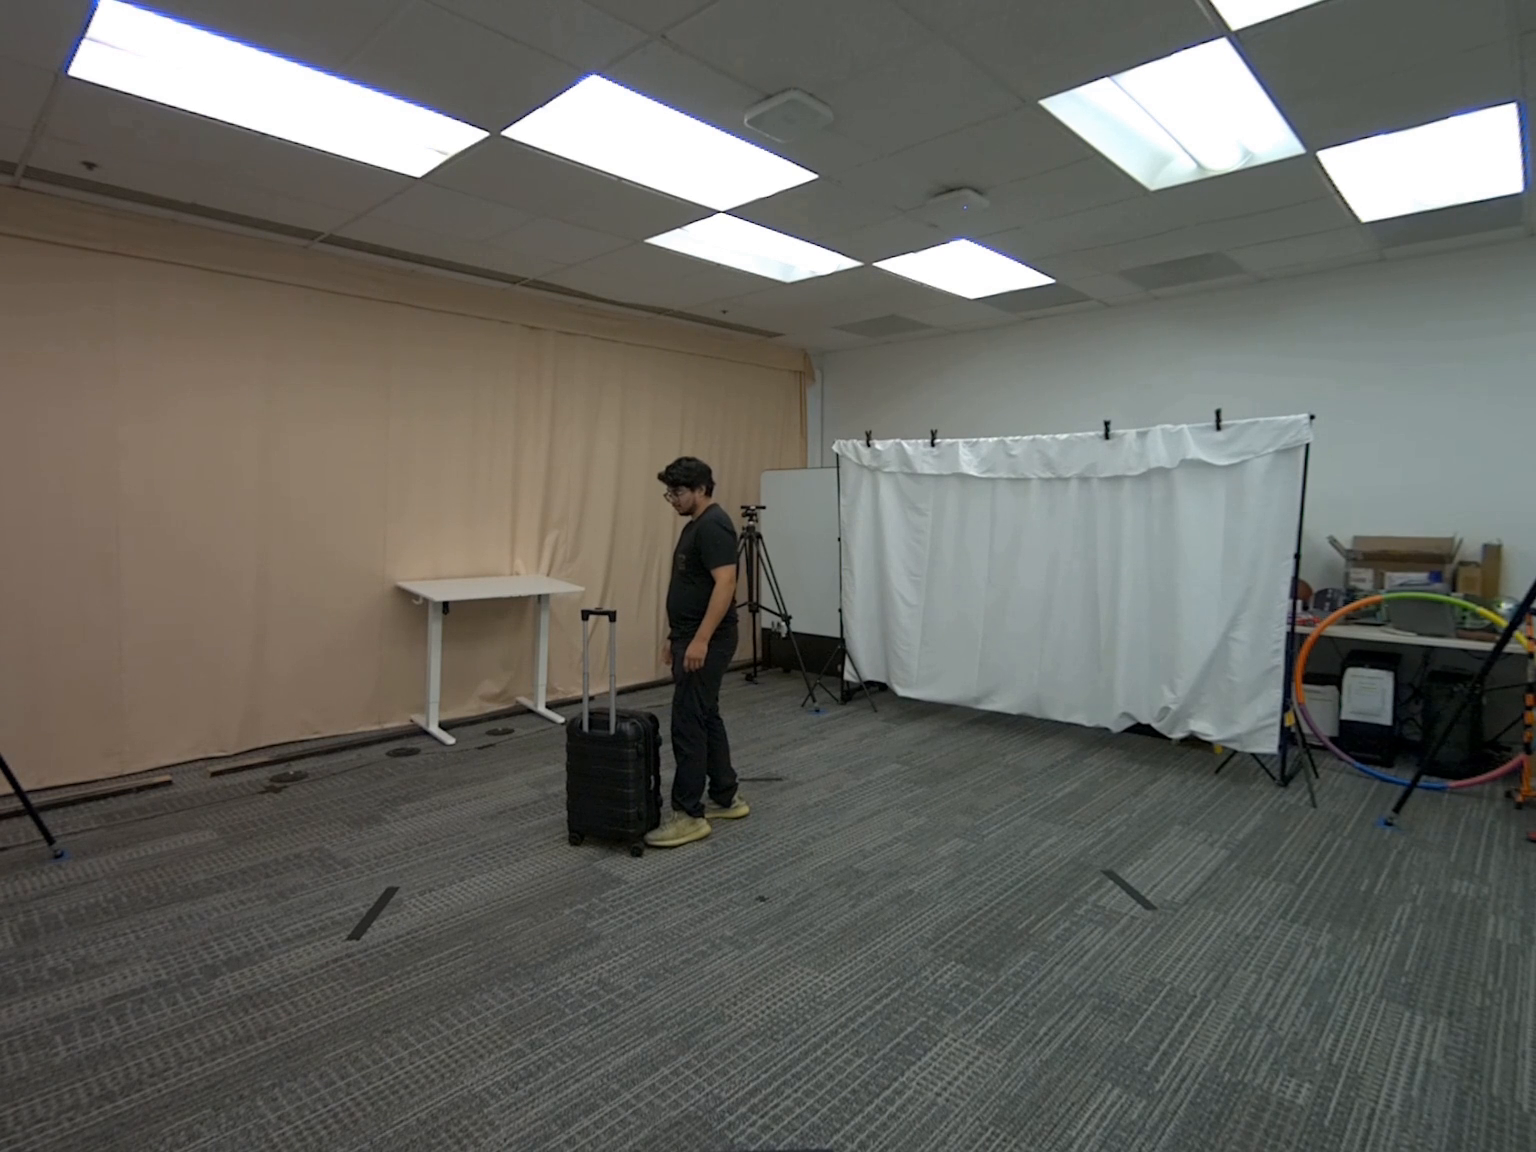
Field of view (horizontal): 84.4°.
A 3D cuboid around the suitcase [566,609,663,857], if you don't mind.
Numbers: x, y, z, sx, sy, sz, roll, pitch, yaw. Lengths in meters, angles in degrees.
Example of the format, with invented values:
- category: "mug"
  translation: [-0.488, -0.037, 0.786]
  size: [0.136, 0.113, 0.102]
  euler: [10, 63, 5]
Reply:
- category: "suitcase"
  translation: [-0.651, 0.625, 3.502]
  size: [0.393, 0.978, 0.251]
  euler: [1, 1, 22]
